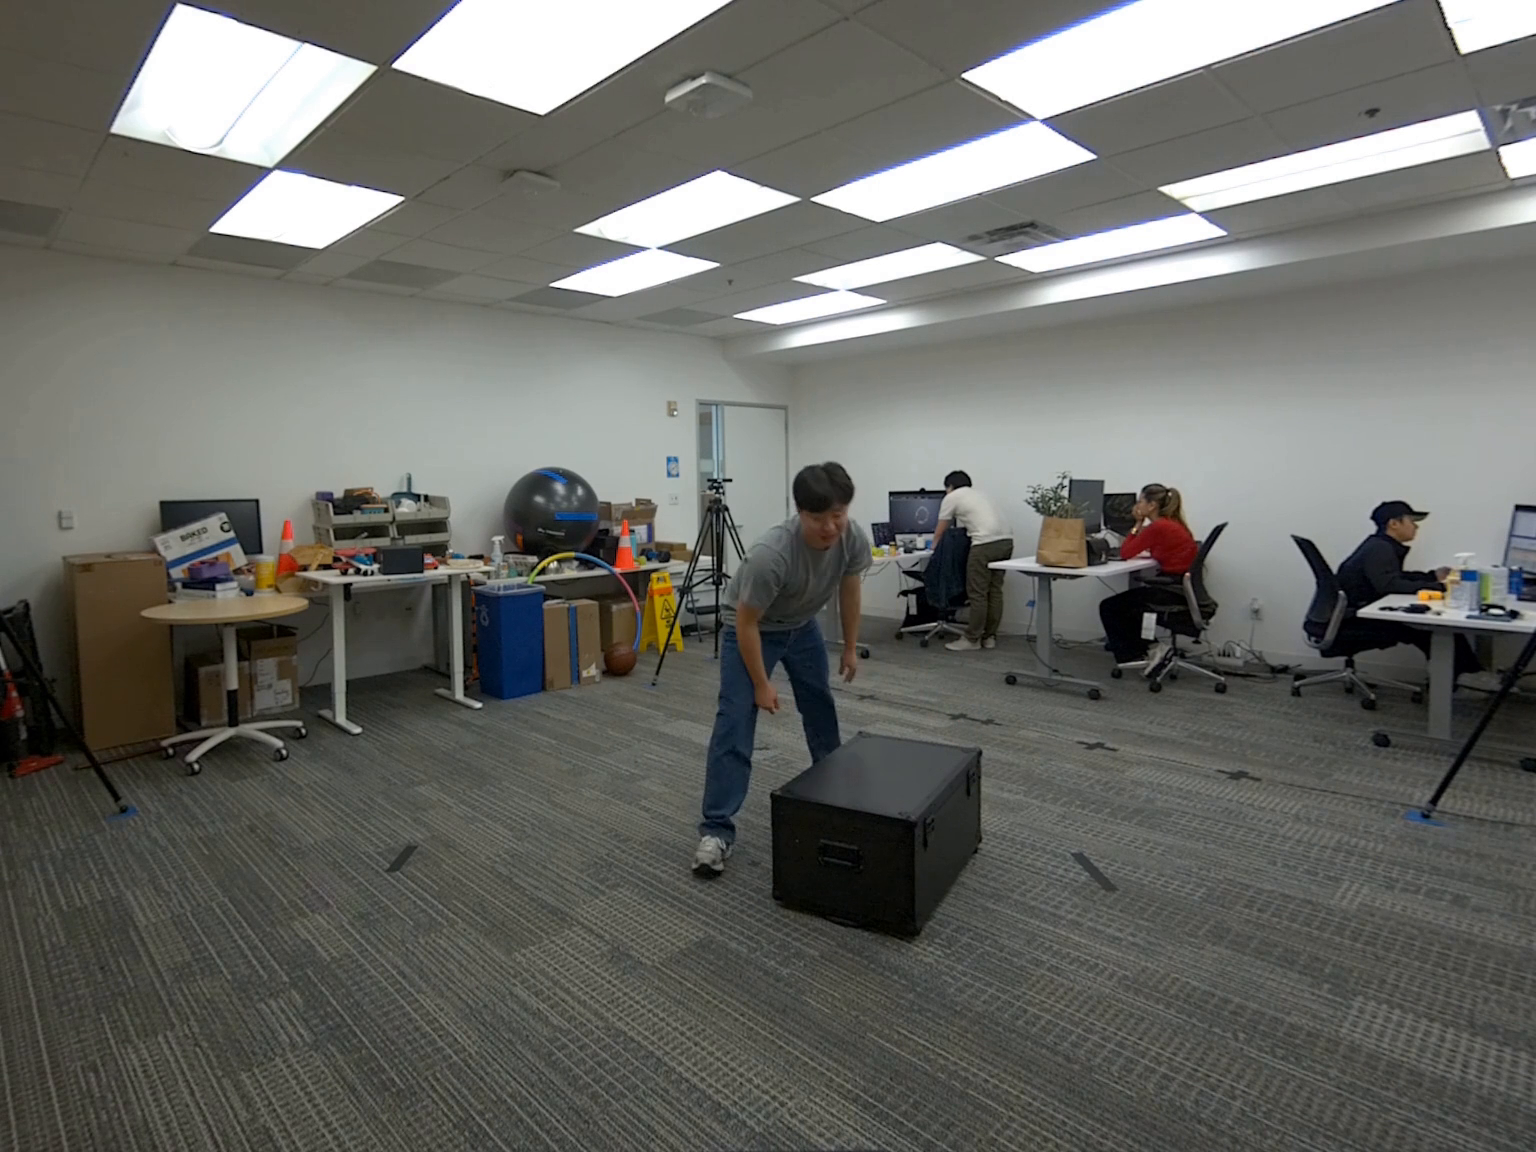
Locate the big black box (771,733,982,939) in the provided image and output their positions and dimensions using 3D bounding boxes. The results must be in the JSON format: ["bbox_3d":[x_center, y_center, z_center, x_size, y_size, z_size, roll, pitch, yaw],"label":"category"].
[{"bbox_3d":[0.425,0.859,3.010,0.534,0.394,0.843,1,6,29],"label":"big black box"}]
